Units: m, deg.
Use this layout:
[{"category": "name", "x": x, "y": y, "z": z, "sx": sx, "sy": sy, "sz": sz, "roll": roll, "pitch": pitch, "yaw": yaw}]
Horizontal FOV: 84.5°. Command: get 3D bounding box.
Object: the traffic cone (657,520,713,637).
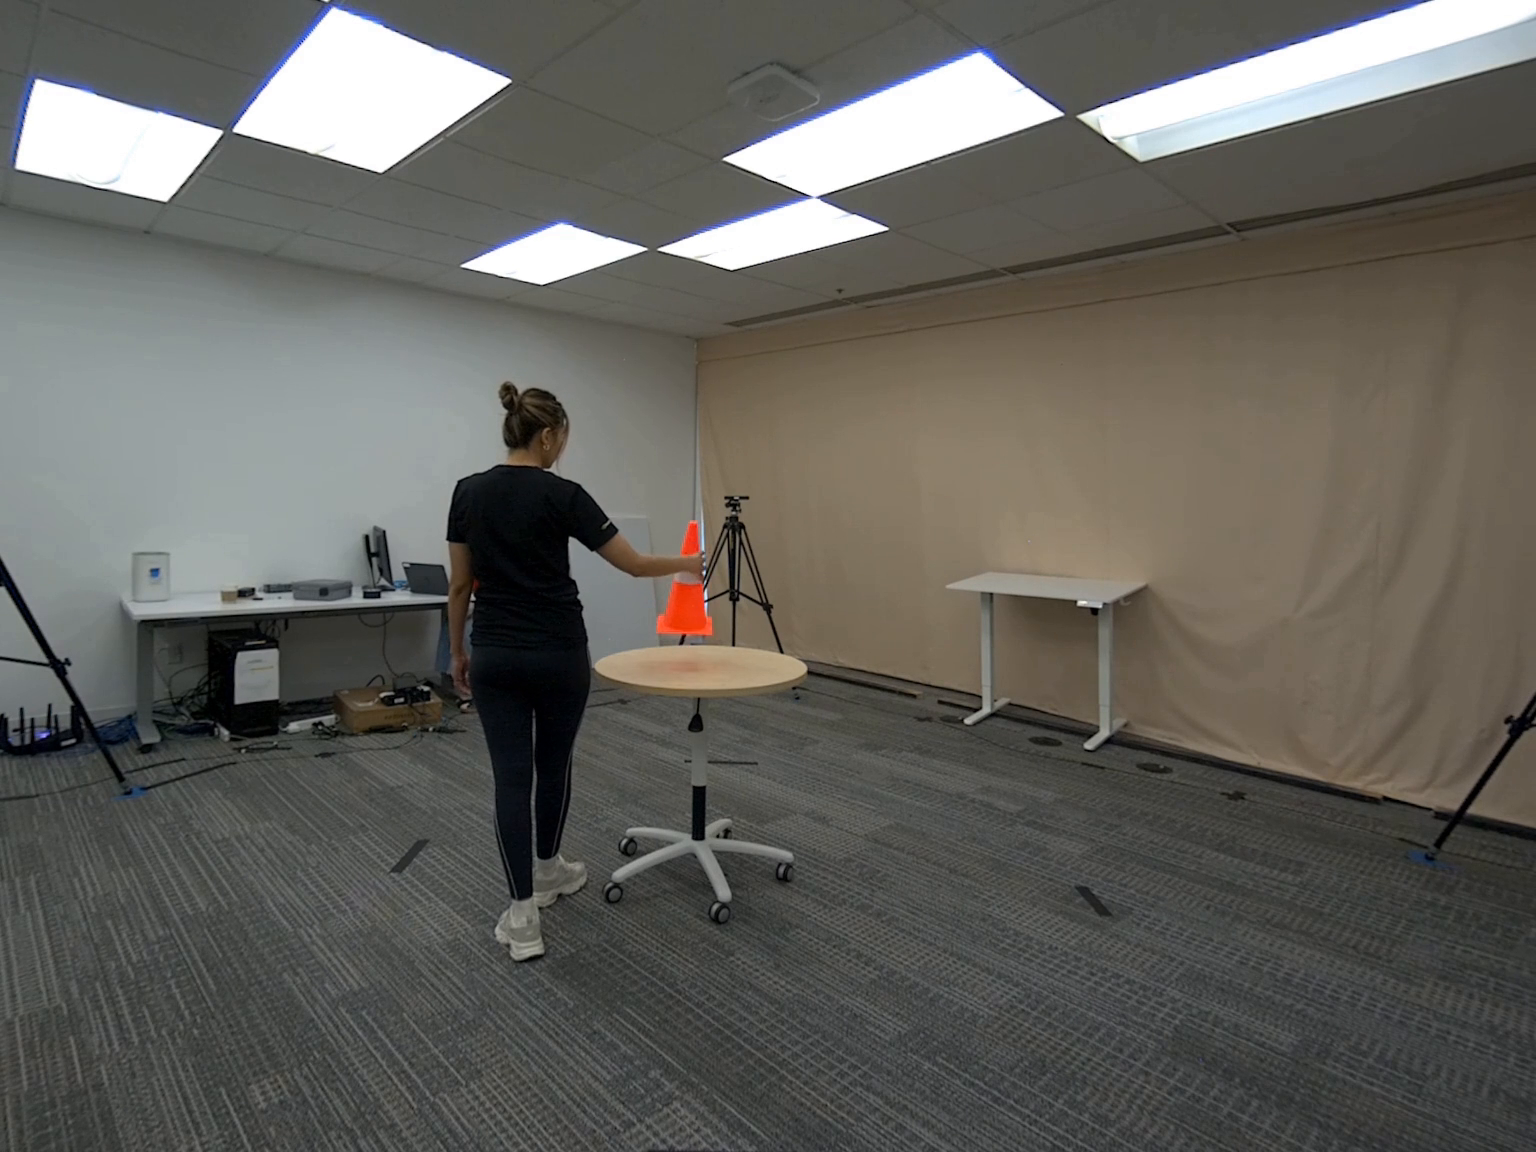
[{"category": "traffic cone", "x": -0.286, "y": -0.008, "z": 2.984, "sx": 0.211, "sy": 0.380, "sz": 0.199, "roll": 18, "pitch": 18, "yaw": 37}]
